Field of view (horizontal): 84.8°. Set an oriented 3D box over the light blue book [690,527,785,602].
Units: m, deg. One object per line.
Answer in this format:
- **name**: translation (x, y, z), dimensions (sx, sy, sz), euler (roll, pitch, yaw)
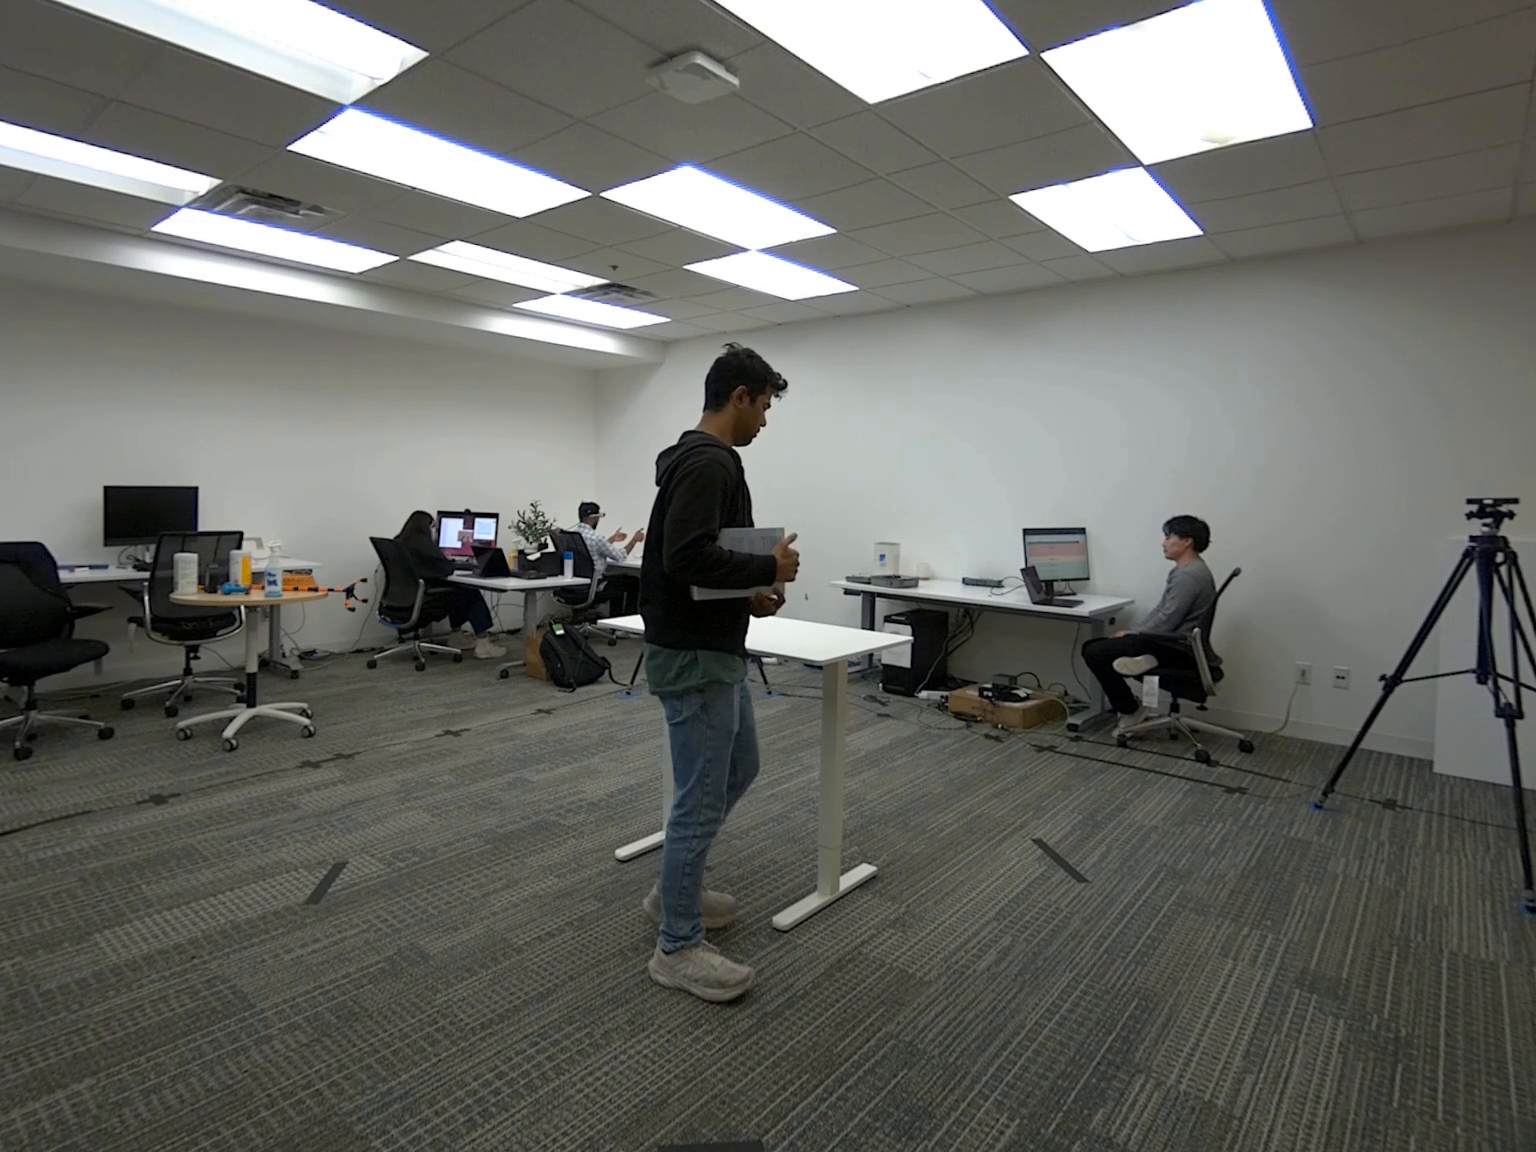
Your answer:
- **light blue book**: translation (-0.086, -0.038, 2.322), dimensions (0.256, 0.191, 0.060), euler (-2, 2, -17)
